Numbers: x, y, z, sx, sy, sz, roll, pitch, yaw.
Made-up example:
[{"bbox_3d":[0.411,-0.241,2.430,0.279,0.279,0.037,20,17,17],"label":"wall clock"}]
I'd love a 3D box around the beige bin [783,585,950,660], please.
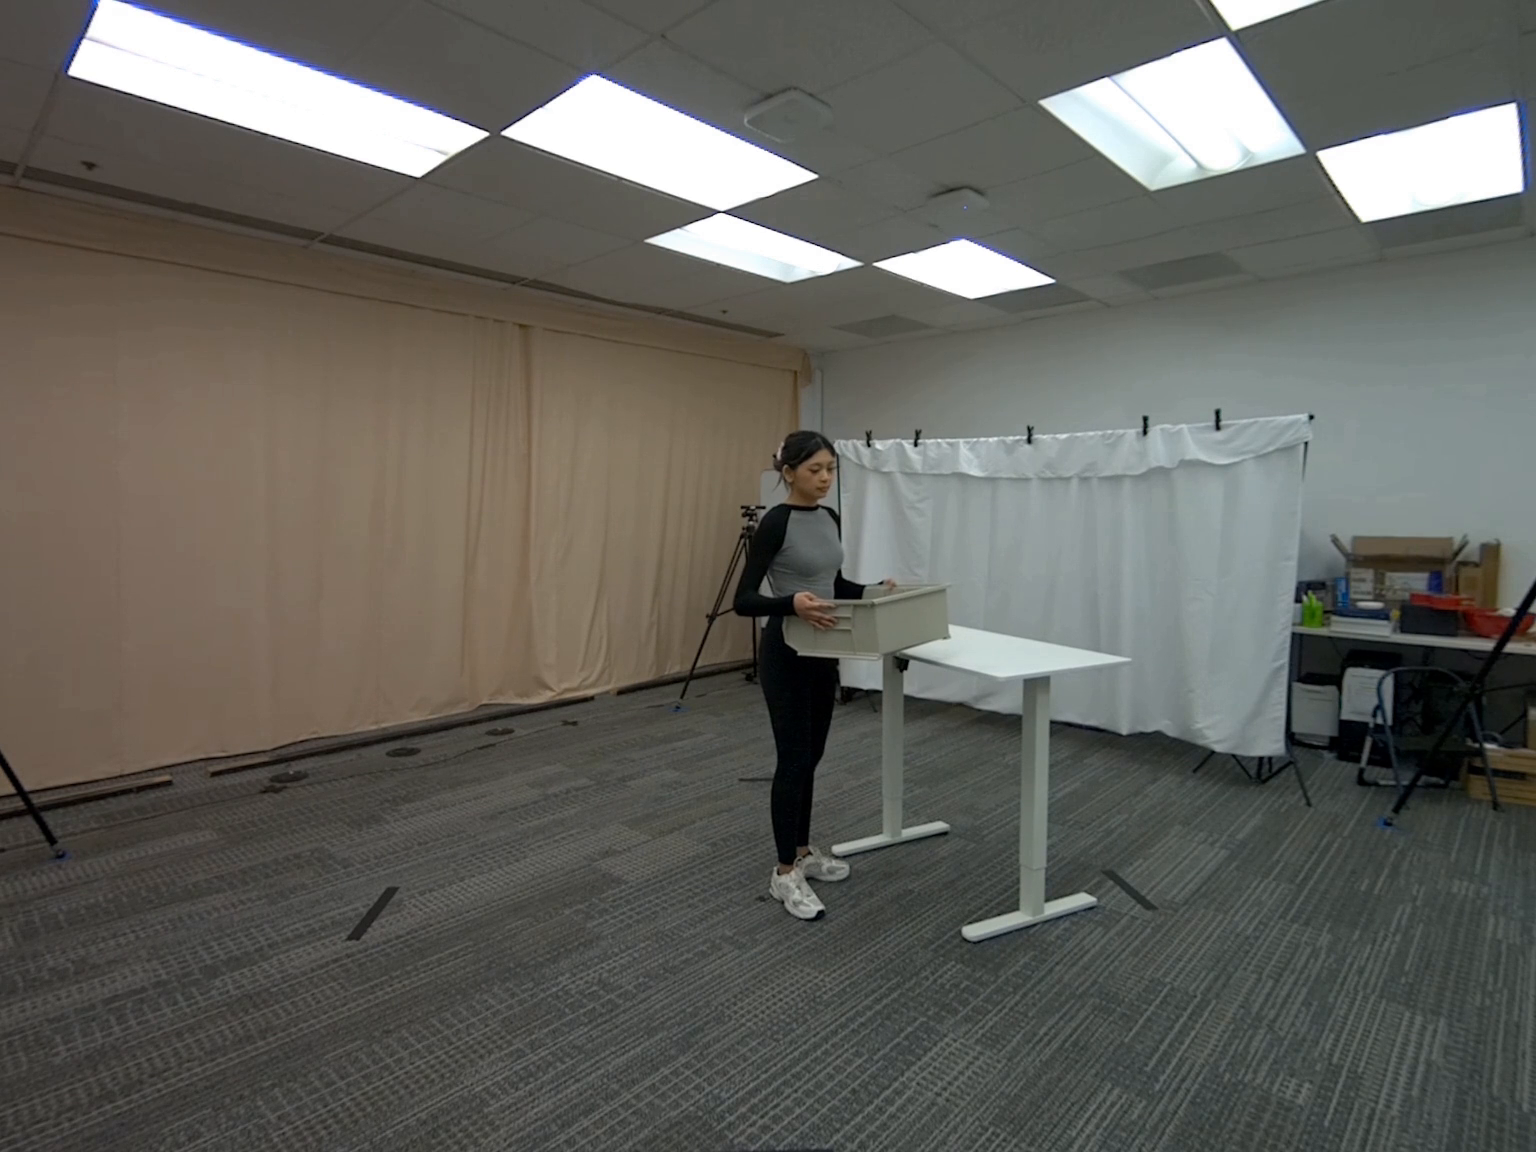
[{"bbox_3d":[0.325,0.141,2.738,0.410,0.188,0.389,-8,6,-44],"label":"beige bin"}]
